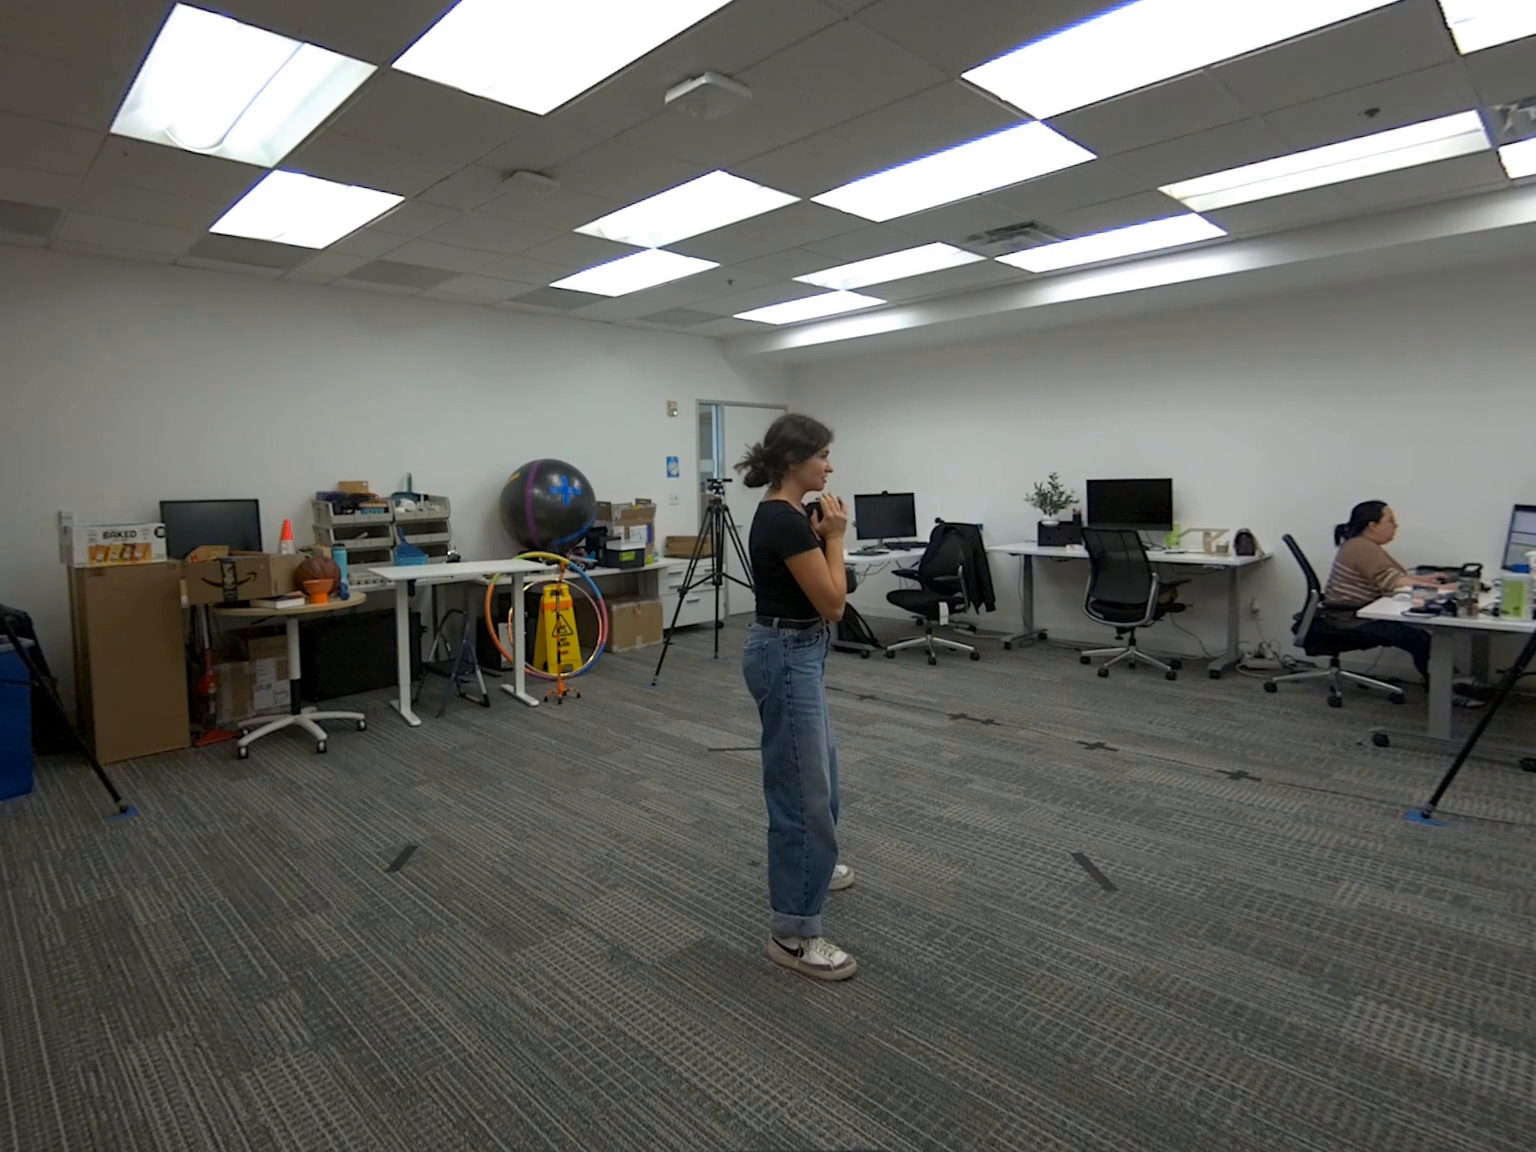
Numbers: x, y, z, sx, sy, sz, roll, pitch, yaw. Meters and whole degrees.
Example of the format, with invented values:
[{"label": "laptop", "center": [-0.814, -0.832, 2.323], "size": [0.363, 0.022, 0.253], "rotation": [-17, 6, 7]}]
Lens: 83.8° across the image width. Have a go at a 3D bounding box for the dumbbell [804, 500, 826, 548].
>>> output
[{"label": "dumbbell", "center": [0.185, -0.087, 2.595], "size": [0.122, 0.292, 0.110], "rotation": [-6, 5, -4]}]
